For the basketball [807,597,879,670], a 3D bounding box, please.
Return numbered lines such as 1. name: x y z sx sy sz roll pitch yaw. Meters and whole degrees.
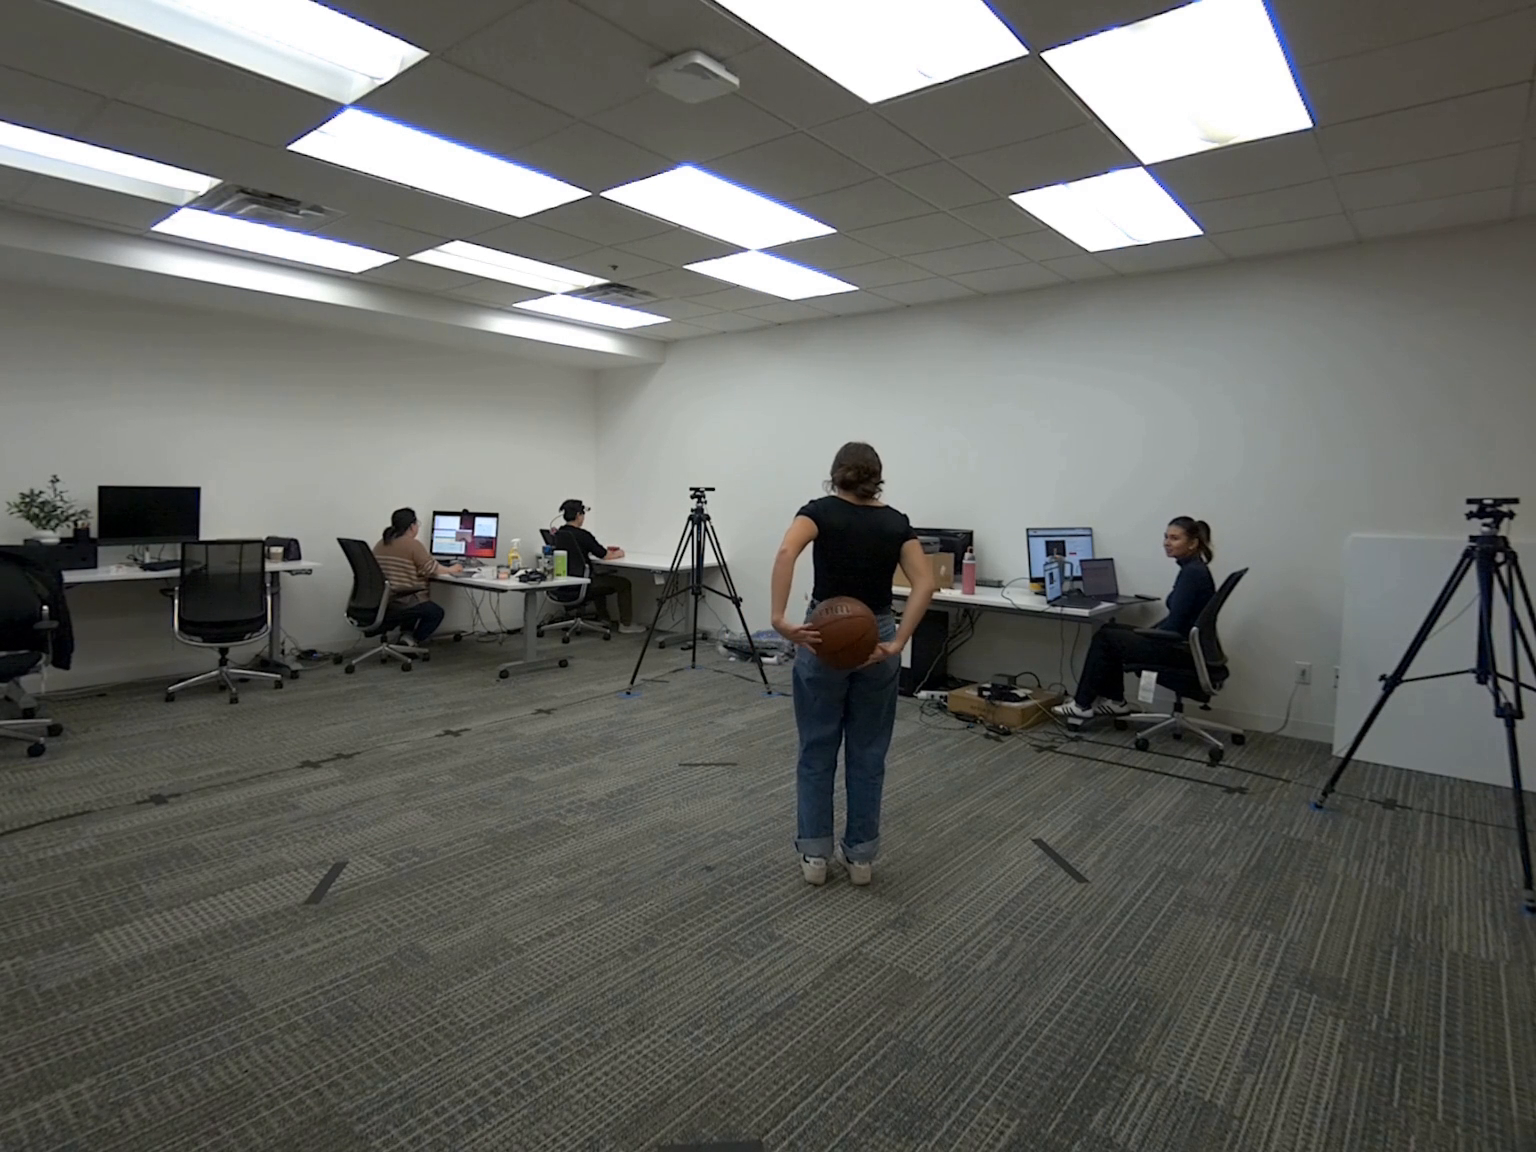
1. basketball: 0.250 0.181 2.827 0.235 0.235 0.237 1 4 -2
